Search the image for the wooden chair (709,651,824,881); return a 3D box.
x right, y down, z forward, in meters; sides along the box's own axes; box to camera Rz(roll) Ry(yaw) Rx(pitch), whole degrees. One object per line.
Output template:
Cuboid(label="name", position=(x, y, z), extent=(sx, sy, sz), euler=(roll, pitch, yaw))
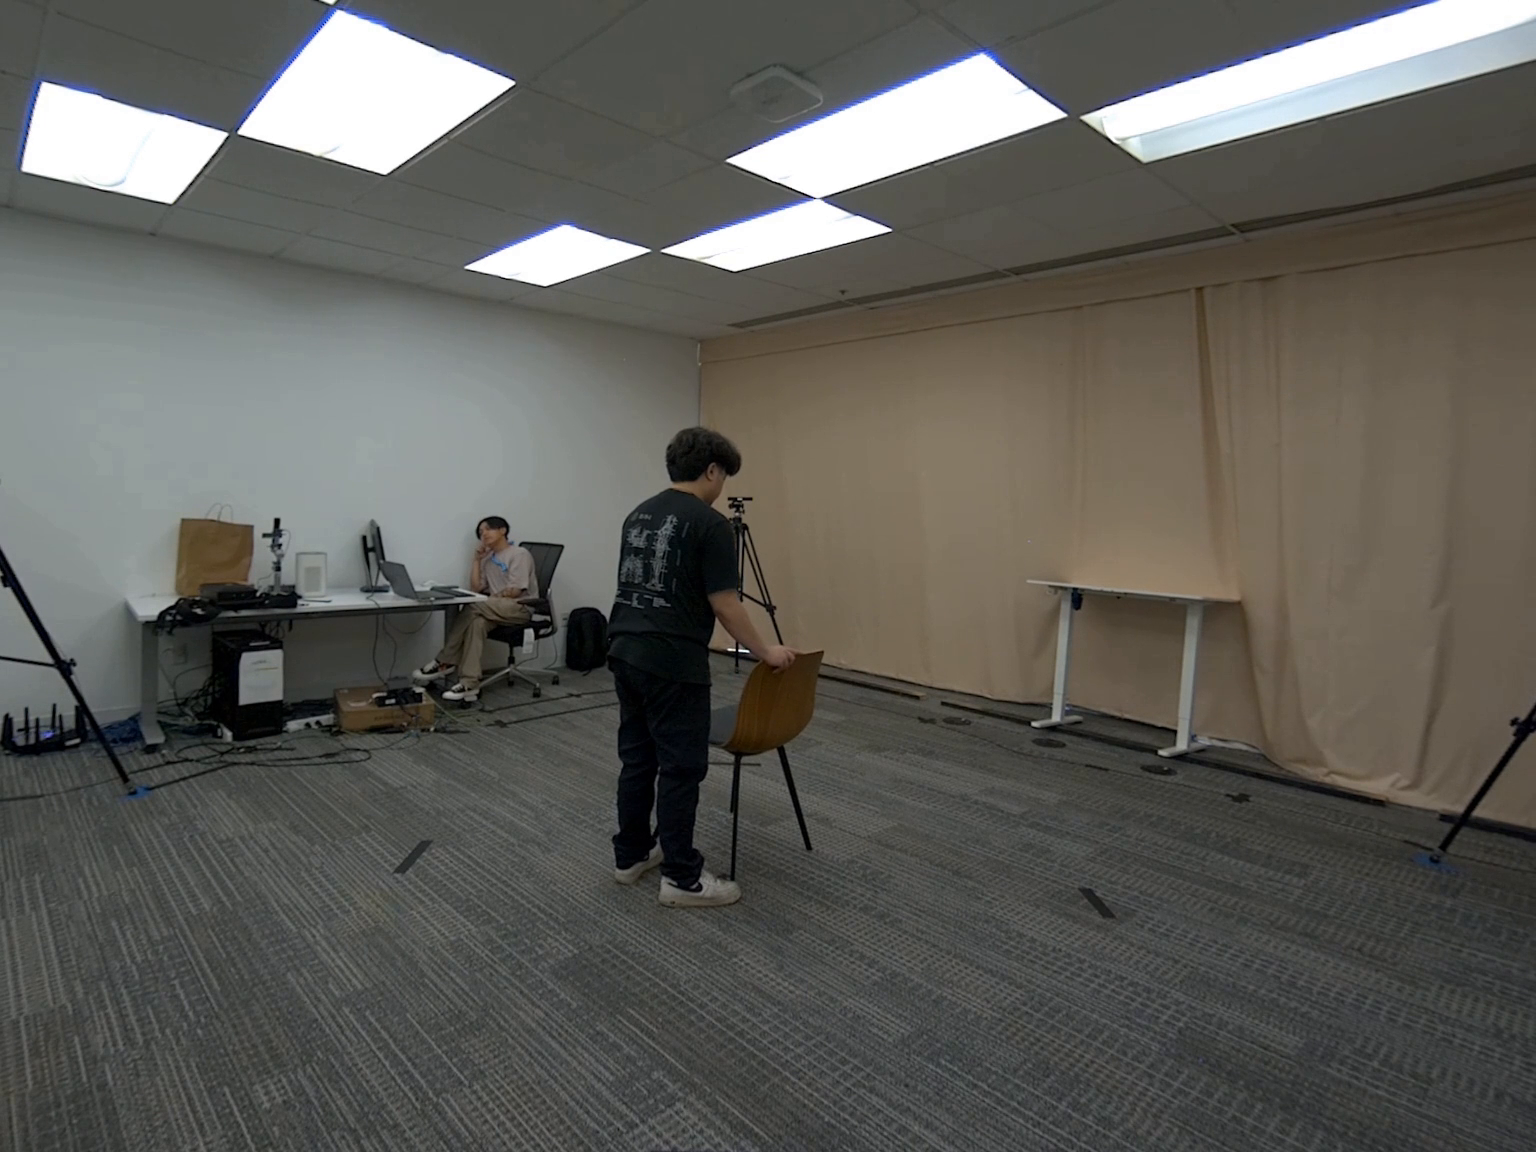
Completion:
Cuboid(label="wooden chair", position=(-0.118, 0.646, 3.312), extent=(0.538, 0.872, 0.467), euler=(16, 13, 42))
